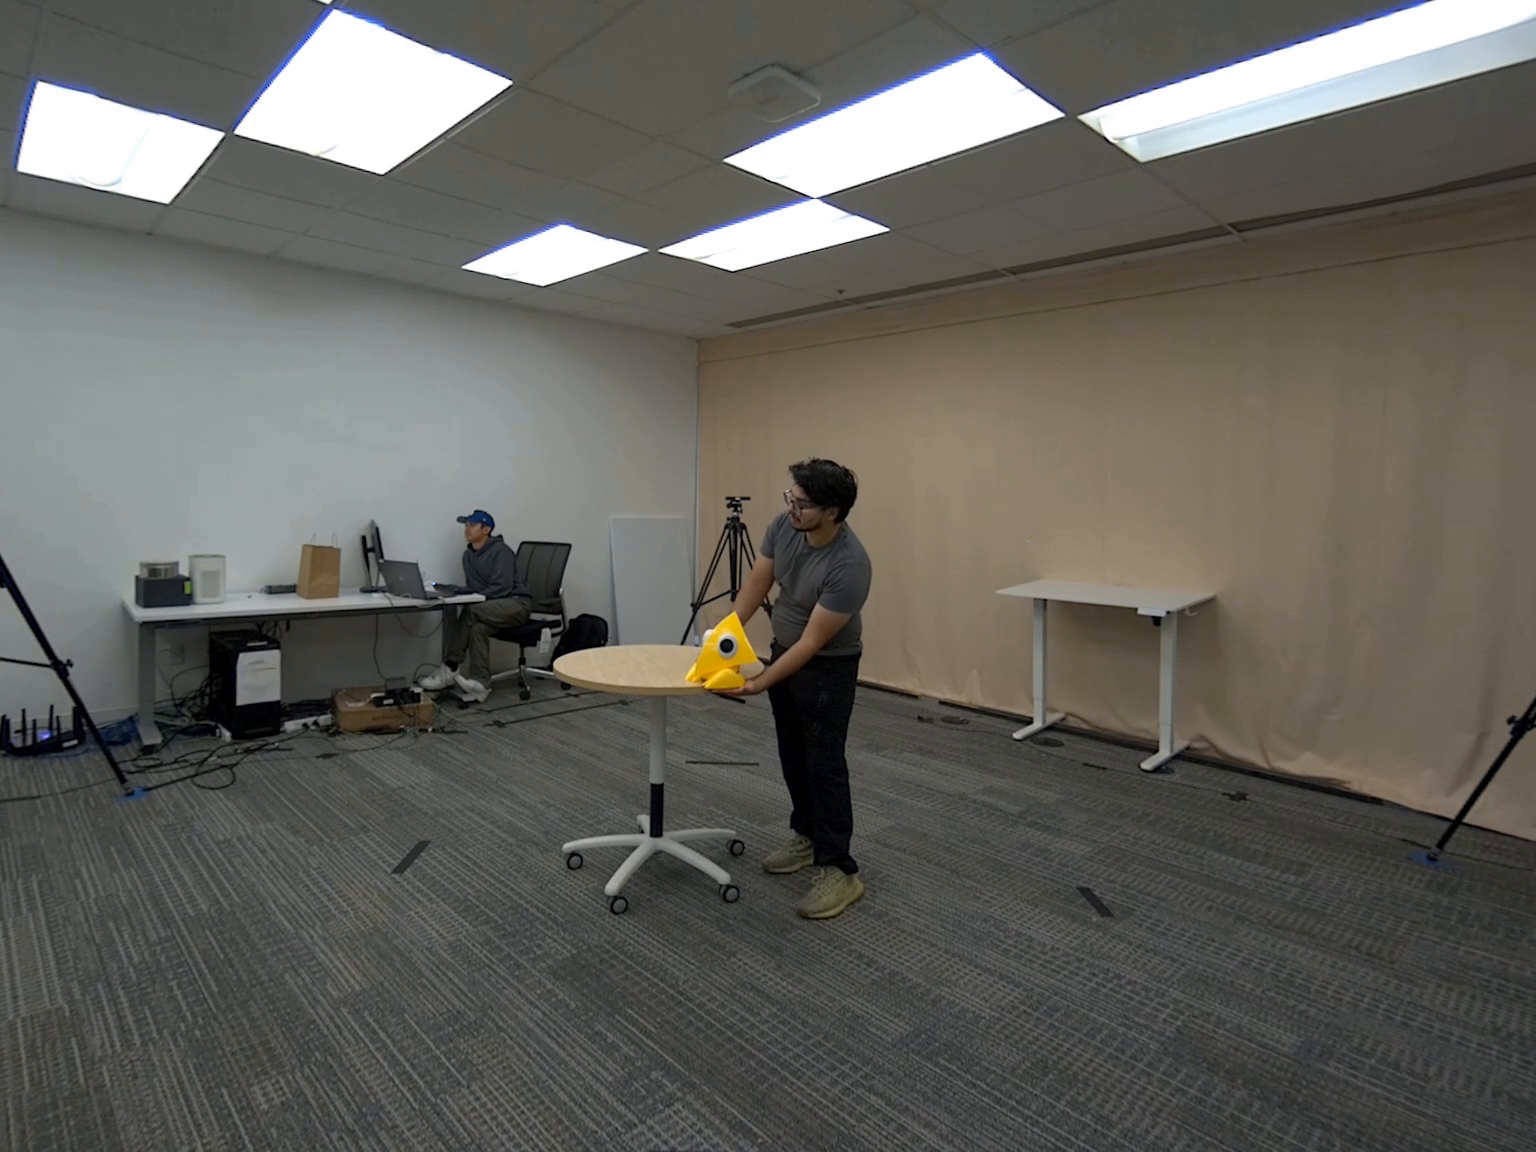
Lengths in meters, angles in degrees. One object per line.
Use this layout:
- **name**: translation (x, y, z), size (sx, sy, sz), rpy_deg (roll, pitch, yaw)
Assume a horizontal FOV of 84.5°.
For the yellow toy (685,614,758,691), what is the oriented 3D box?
- **yellow toy**: translation (-0.166, 0.238, 2.798), size (0.189, 0.230, 0.210), rpy_deg (0, 5, -34)
